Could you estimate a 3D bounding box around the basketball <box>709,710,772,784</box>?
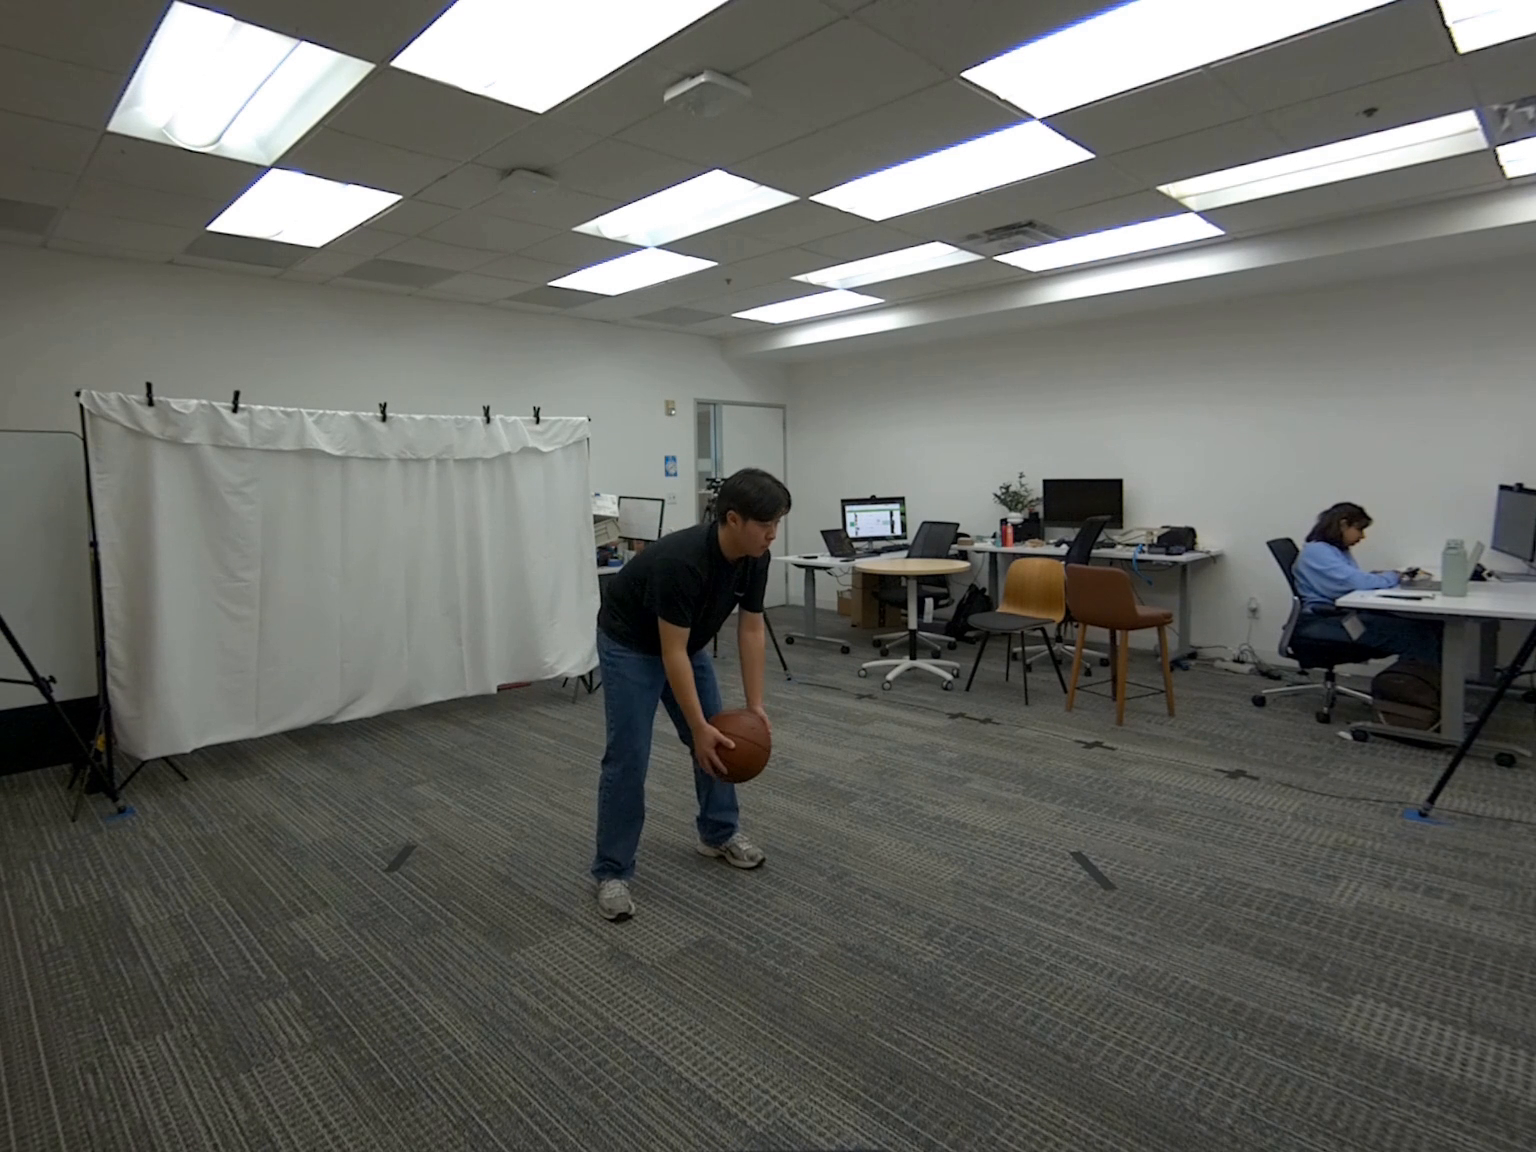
[{"bbox_3d":[-0.118,0.547,2.793,0.236,0.235,0.237,-1,5,-2],"label":"basketball"}]
